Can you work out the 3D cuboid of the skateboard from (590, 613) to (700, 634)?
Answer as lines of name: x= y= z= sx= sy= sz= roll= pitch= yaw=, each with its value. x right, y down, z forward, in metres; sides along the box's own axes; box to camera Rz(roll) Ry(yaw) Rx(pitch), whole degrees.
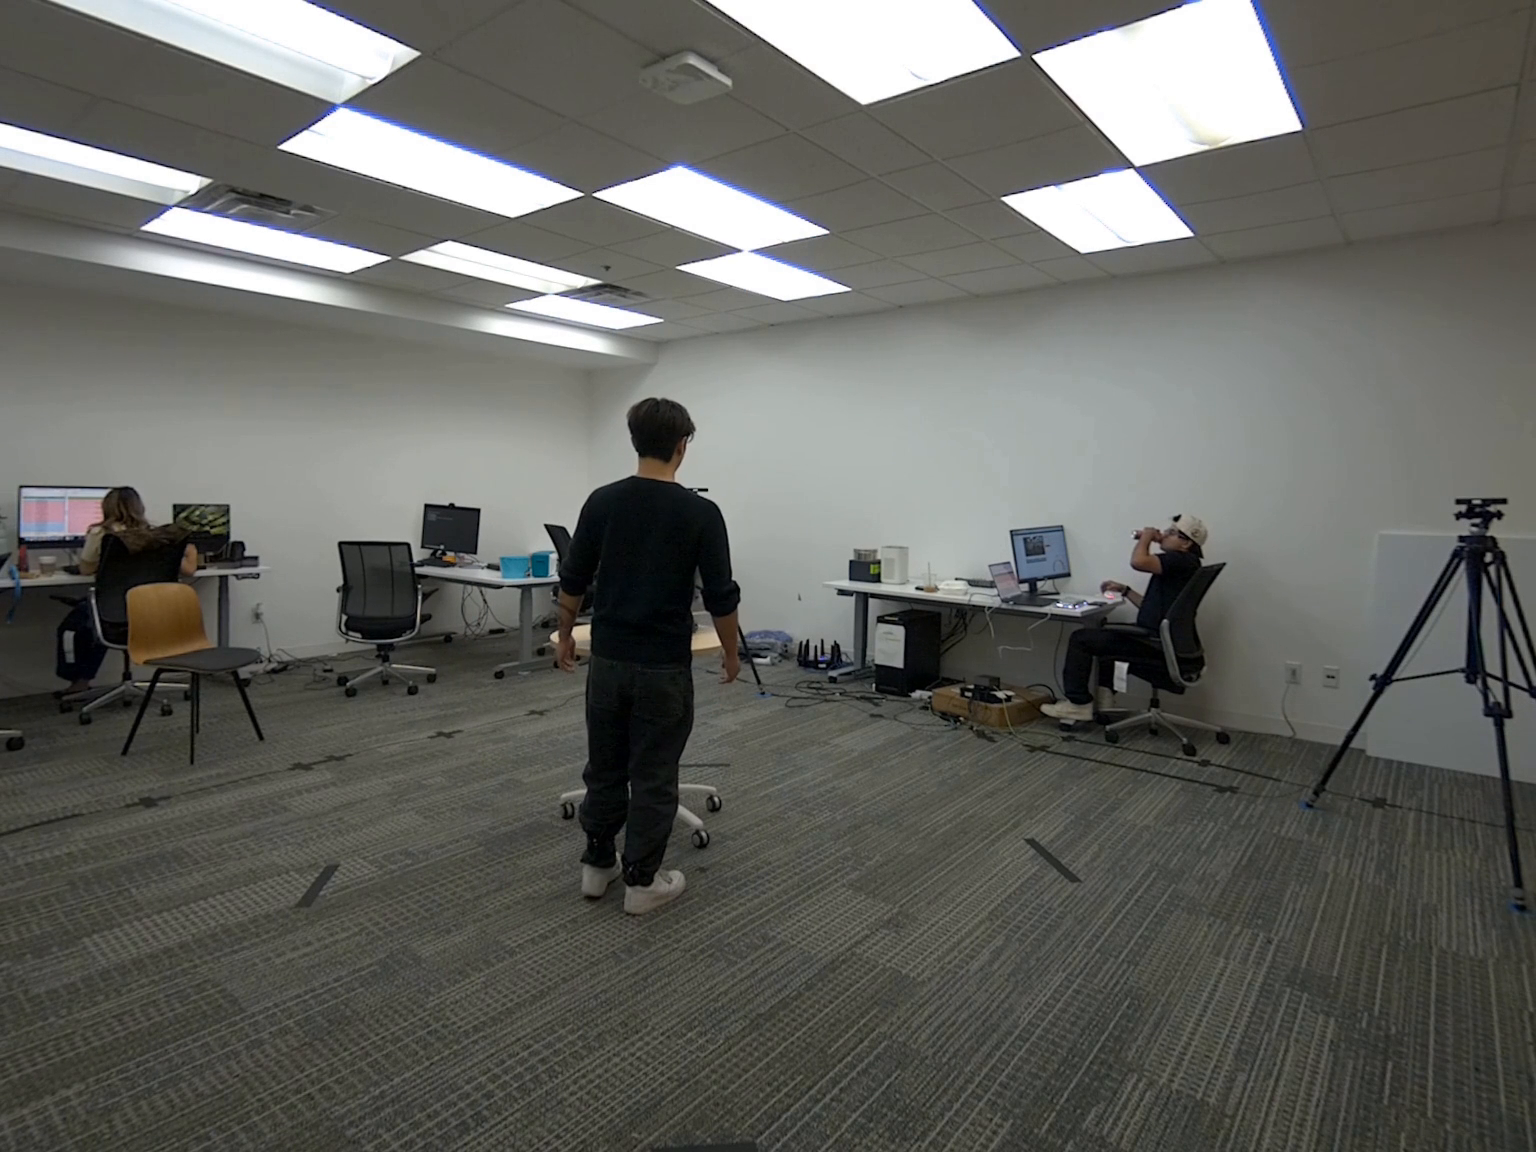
skateboard: x=-0.514 y=0.191 z=3.521 sx=0.200 sy=0.110 sz=0.762 roll=4 pitch=6 yaw=40
